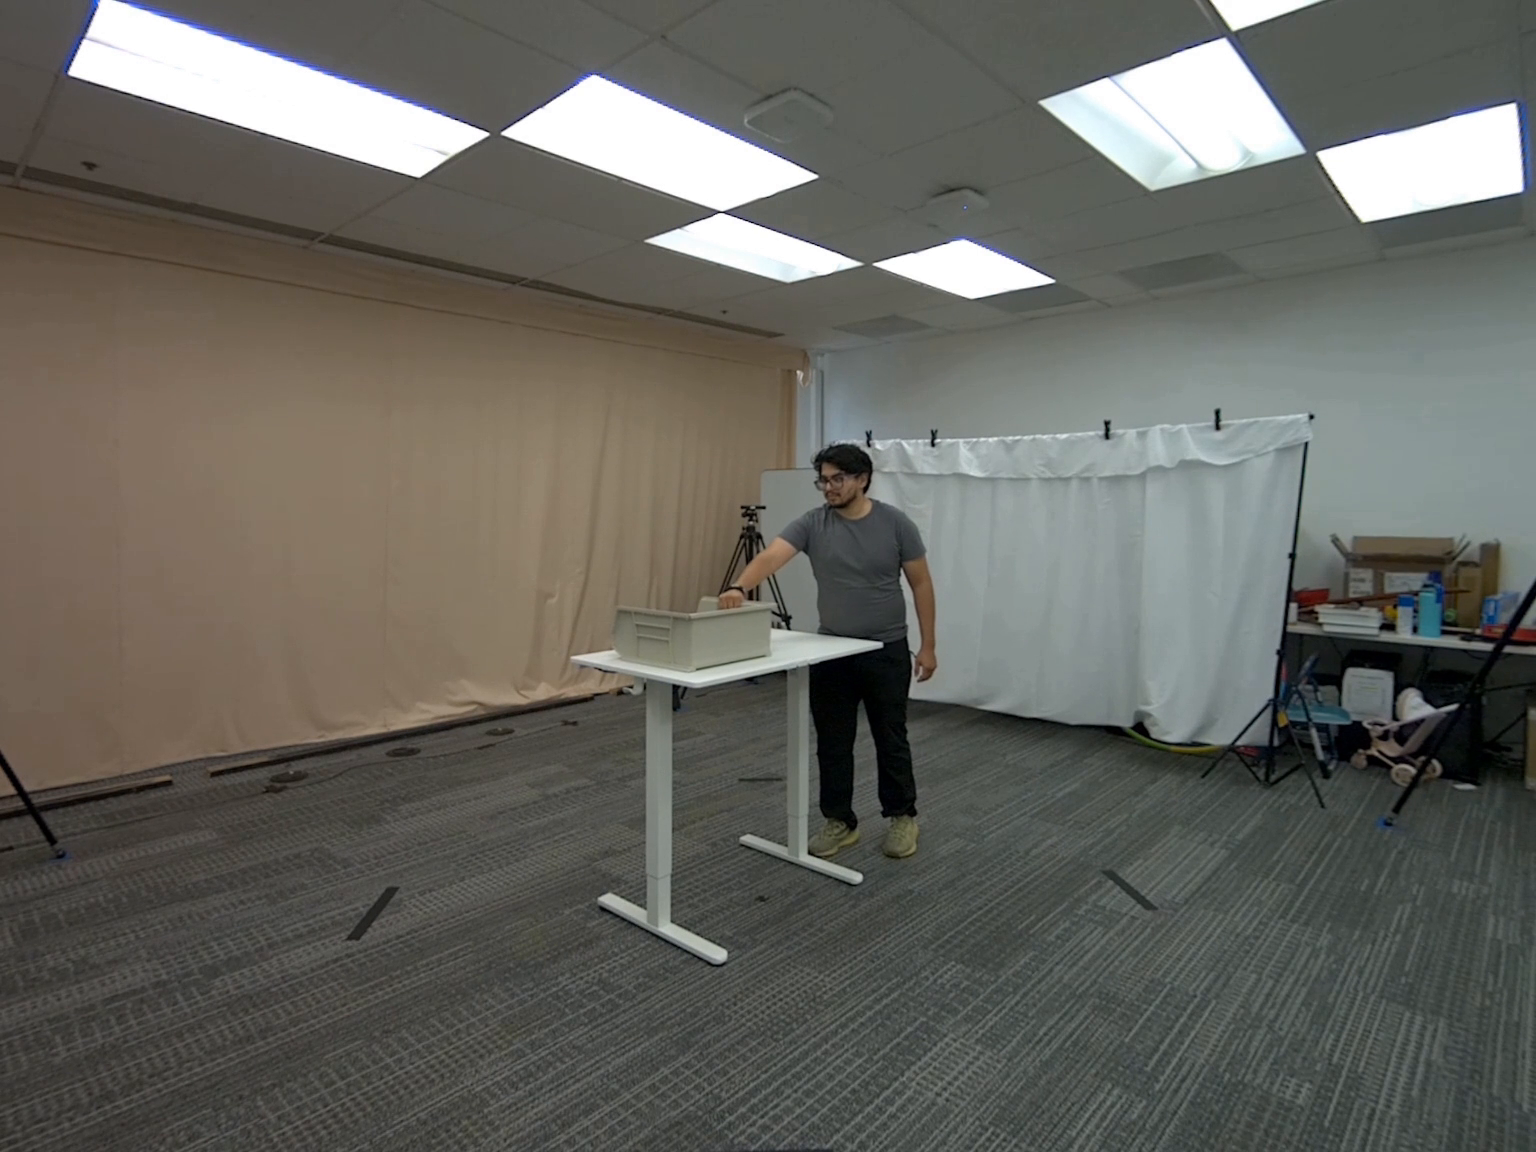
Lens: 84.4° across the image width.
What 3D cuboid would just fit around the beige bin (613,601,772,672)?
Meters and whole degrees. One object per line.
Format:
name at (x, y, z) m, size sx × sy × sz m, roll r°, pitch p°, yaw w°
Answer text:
beige bin at (-0.249, 0.186, 2.819) m, size 0.390 × 0.188 × 0.409 m, roll 6°, pitch 7°, yaw 41°
